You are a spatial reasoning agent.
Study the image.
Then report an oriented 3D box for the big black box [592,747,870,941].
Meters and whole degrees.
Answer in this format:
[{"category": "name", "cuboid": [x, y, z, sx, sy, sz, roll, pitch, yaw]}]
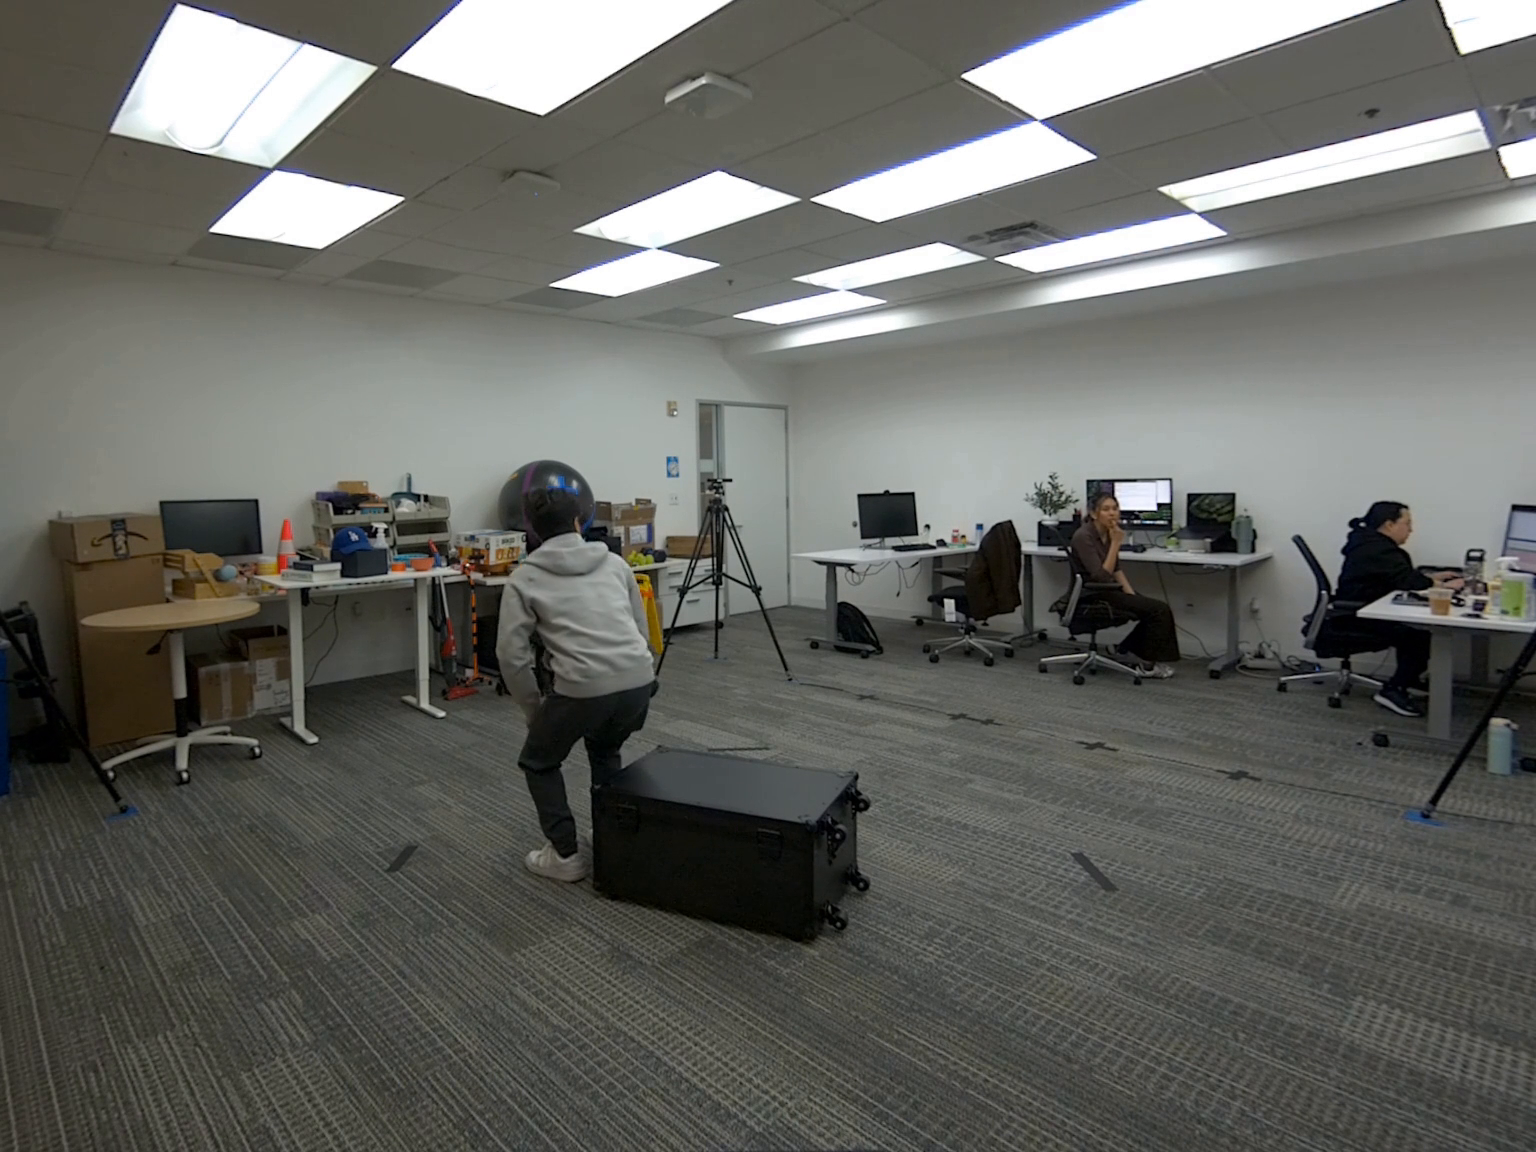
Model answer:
[{"category": "big black box", "cuboid": [-0.164, 0.877, 2.929, 0.881, 0.394, 0.512, 3, 6, 24]}]
